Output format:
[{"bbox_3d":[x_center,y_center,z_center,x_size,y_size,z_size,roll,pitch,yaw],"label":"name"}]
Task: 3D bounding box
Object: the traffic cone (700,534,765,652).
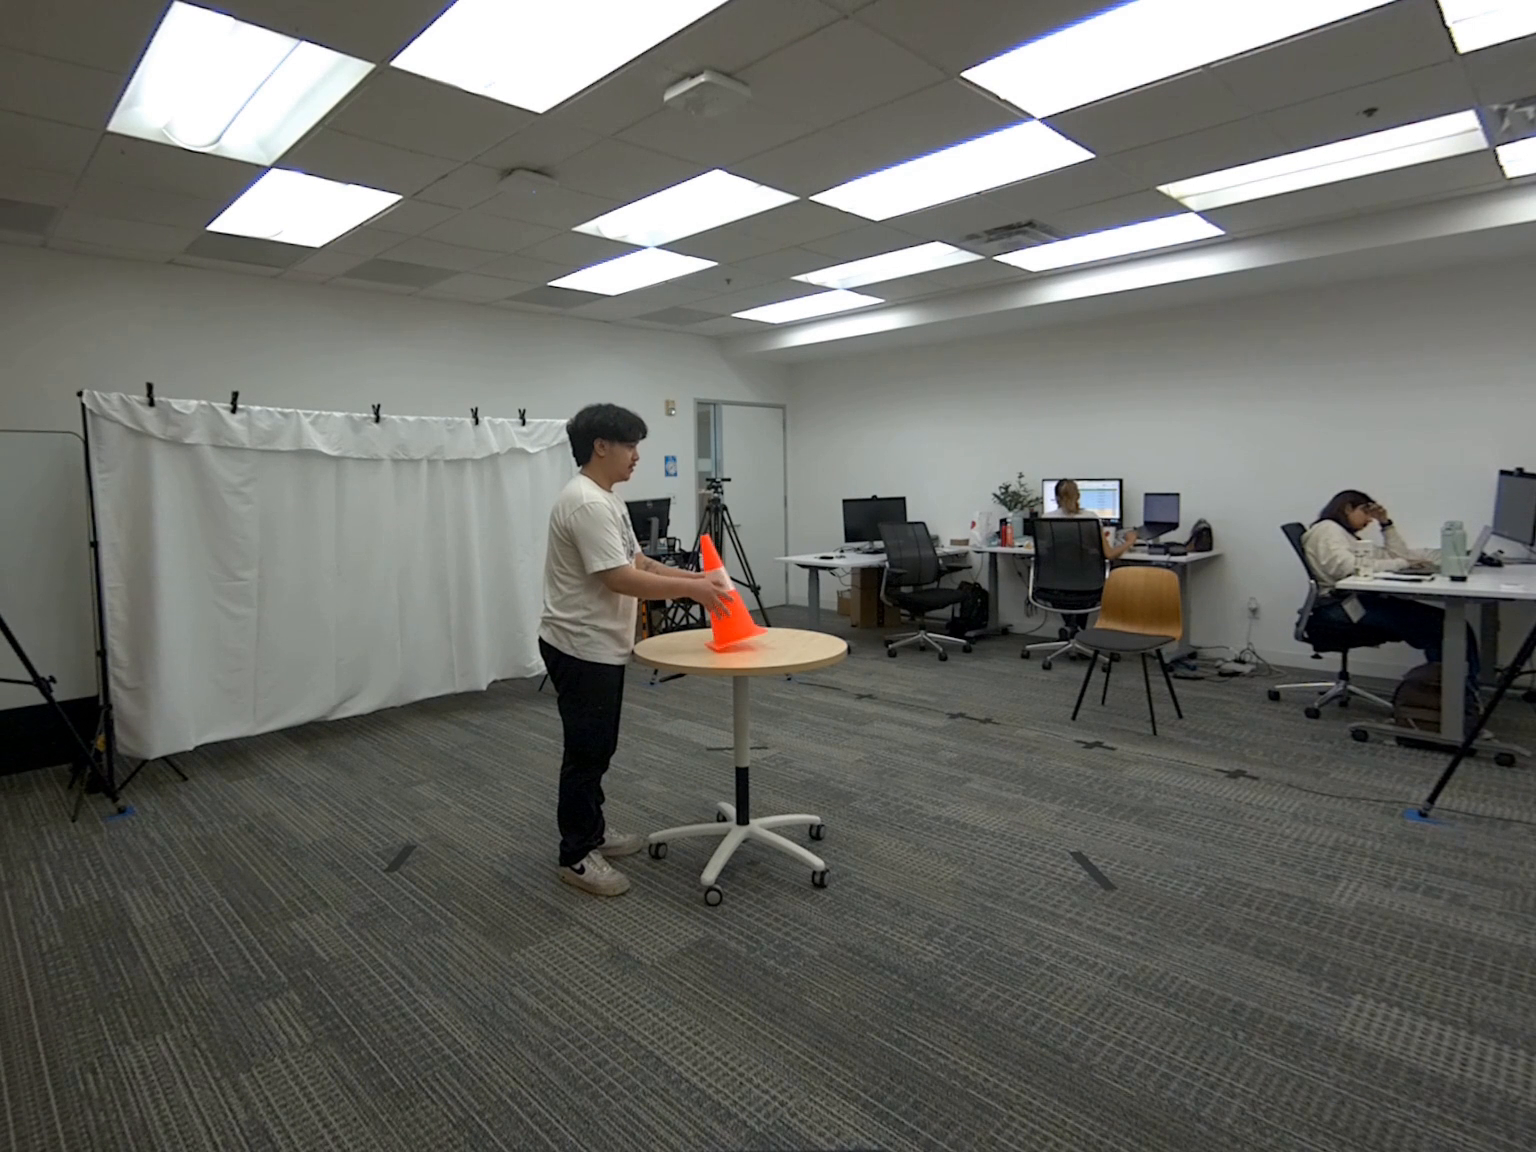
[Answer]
[{"bbox_3d":[-0.173,0.038,3.040,0.201,0.384,0.207,-17,0,-15],"label":"traffic cone"}]
